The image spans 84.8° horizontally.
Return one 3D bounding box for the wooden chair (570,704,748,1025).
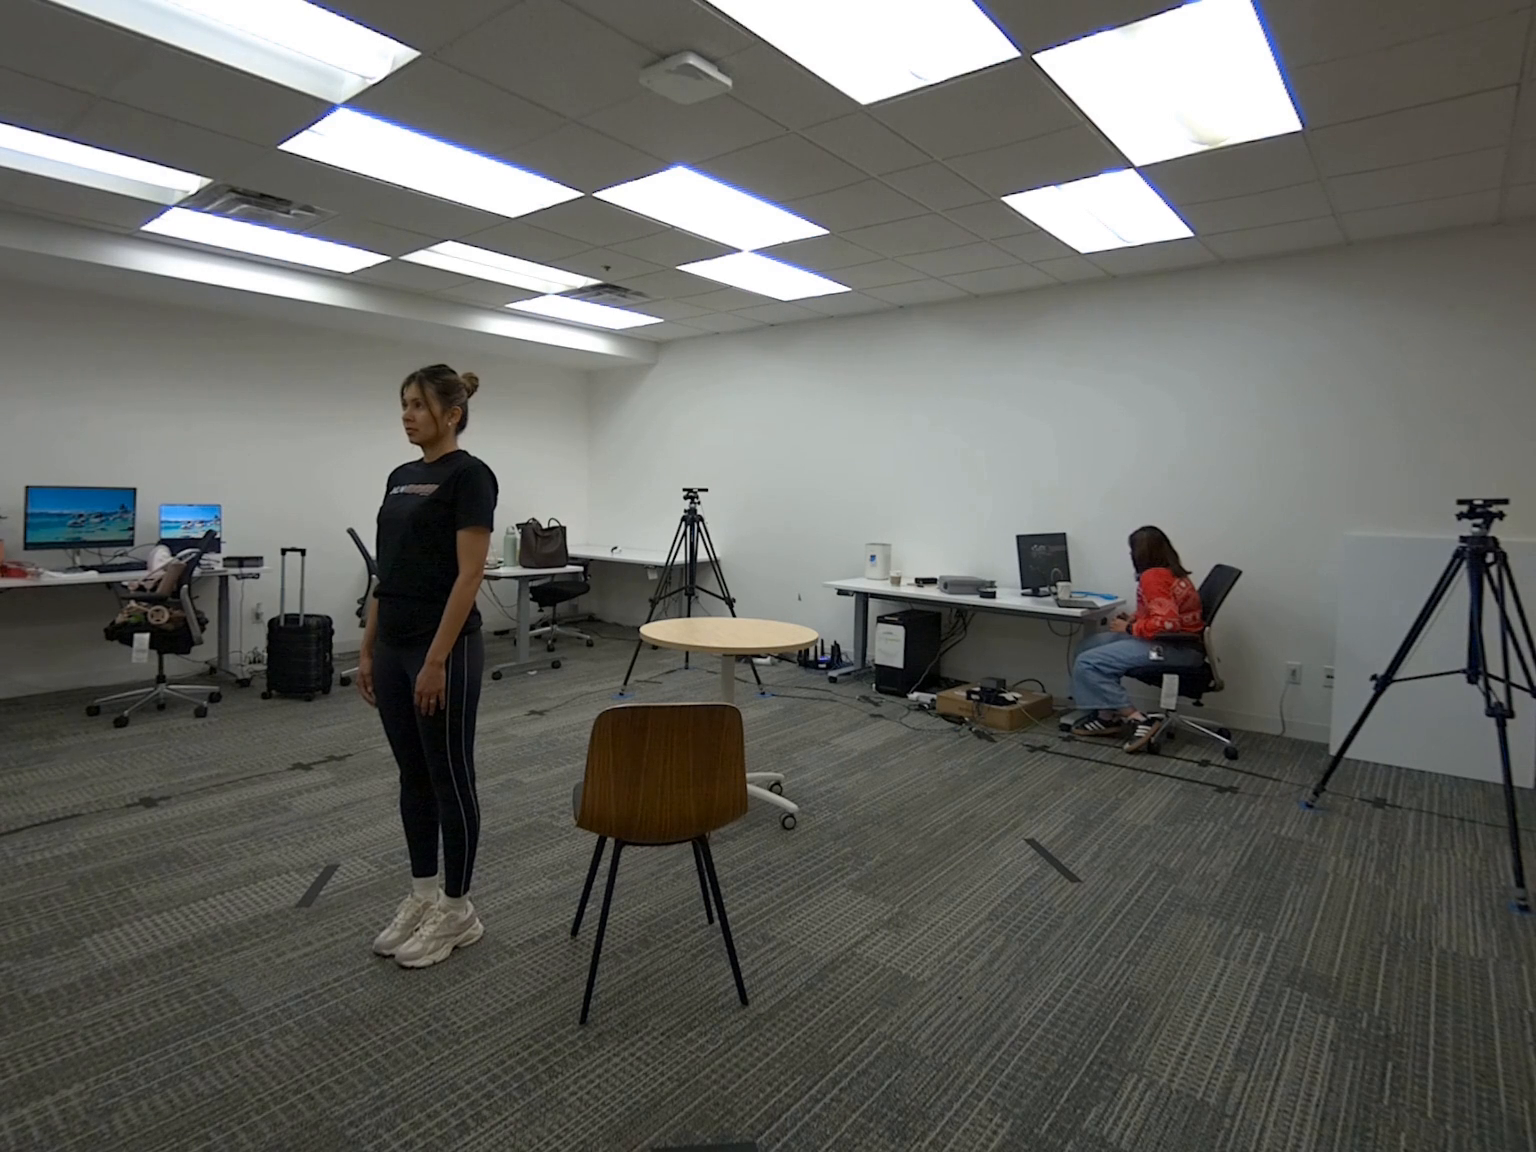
[{"bbox_3d":[-0.332,0.710,2.434,0.471,0.872,0.534,0,7,-15],"label":"wooden chair"}]
